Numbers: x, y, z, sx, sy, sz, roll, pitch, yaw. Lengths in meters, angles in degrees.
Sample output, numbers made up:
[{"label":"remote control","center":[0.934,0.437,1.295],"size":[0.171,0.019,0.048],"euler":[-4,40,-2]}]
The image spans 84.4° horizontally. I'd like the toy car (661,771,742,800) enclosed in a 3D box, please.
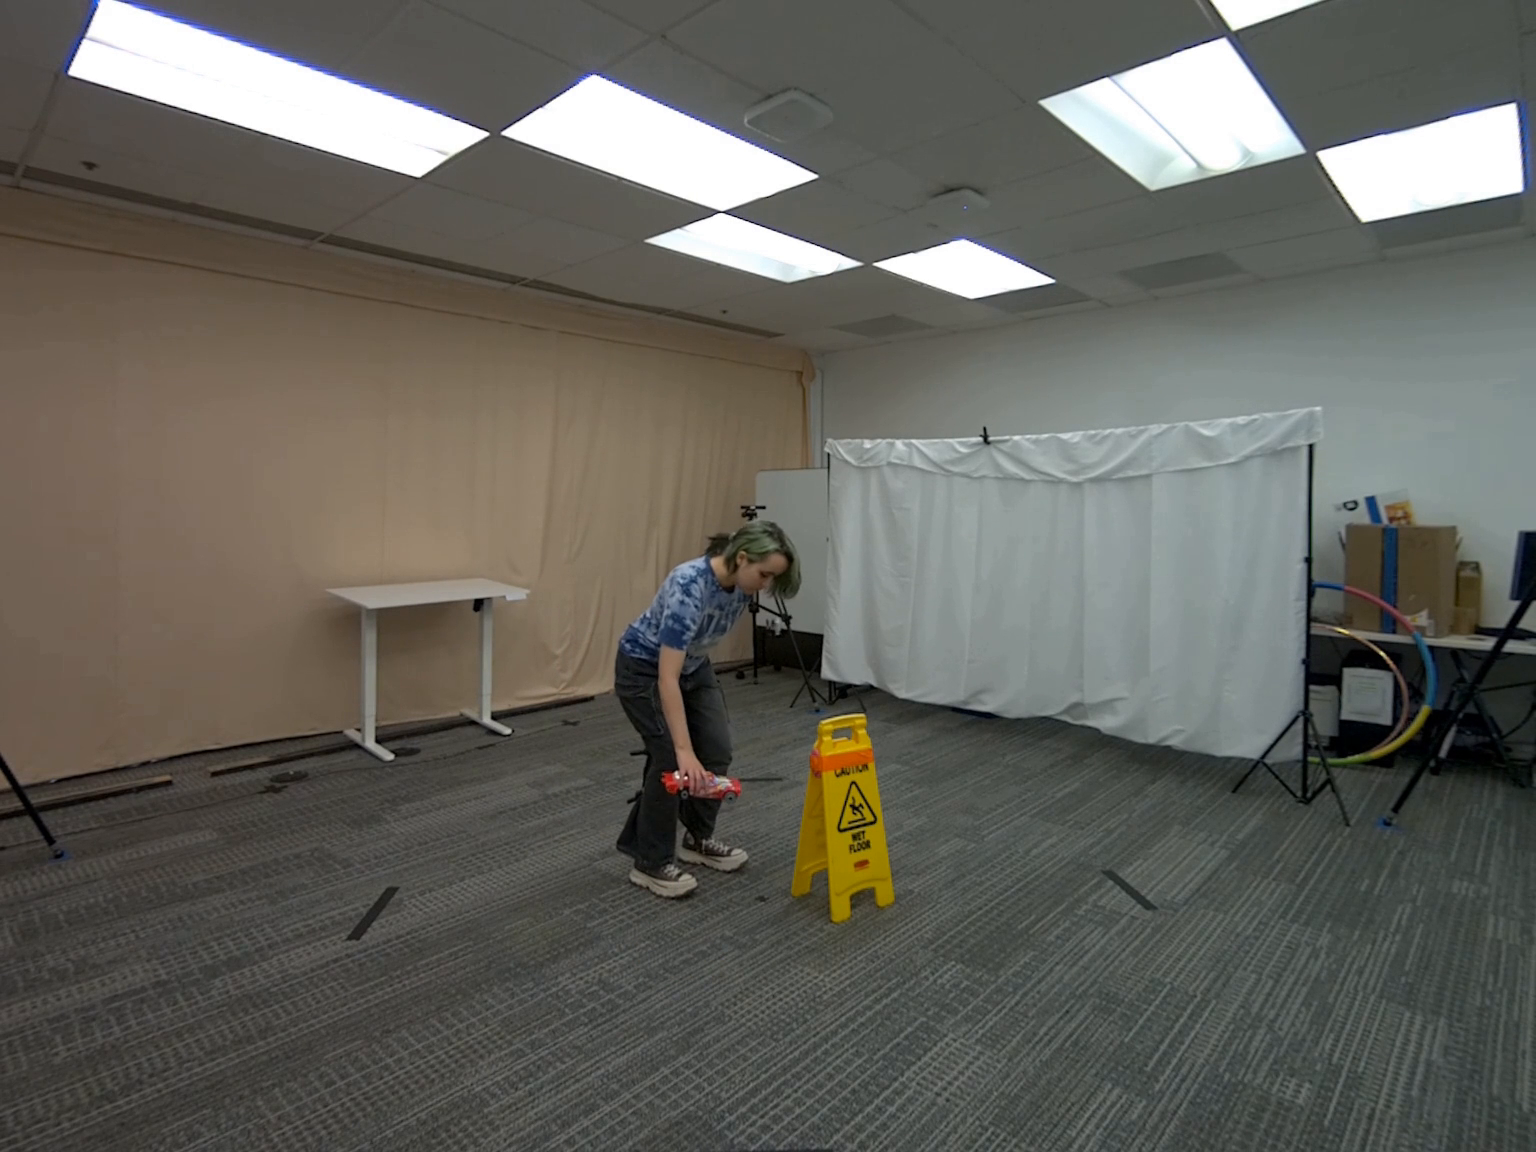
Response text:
[{"label":"toy car","center":[-0.212,0.684,2.696],"size":[0.253,0.083,0.131],"euler":[14,5,-5]}]
